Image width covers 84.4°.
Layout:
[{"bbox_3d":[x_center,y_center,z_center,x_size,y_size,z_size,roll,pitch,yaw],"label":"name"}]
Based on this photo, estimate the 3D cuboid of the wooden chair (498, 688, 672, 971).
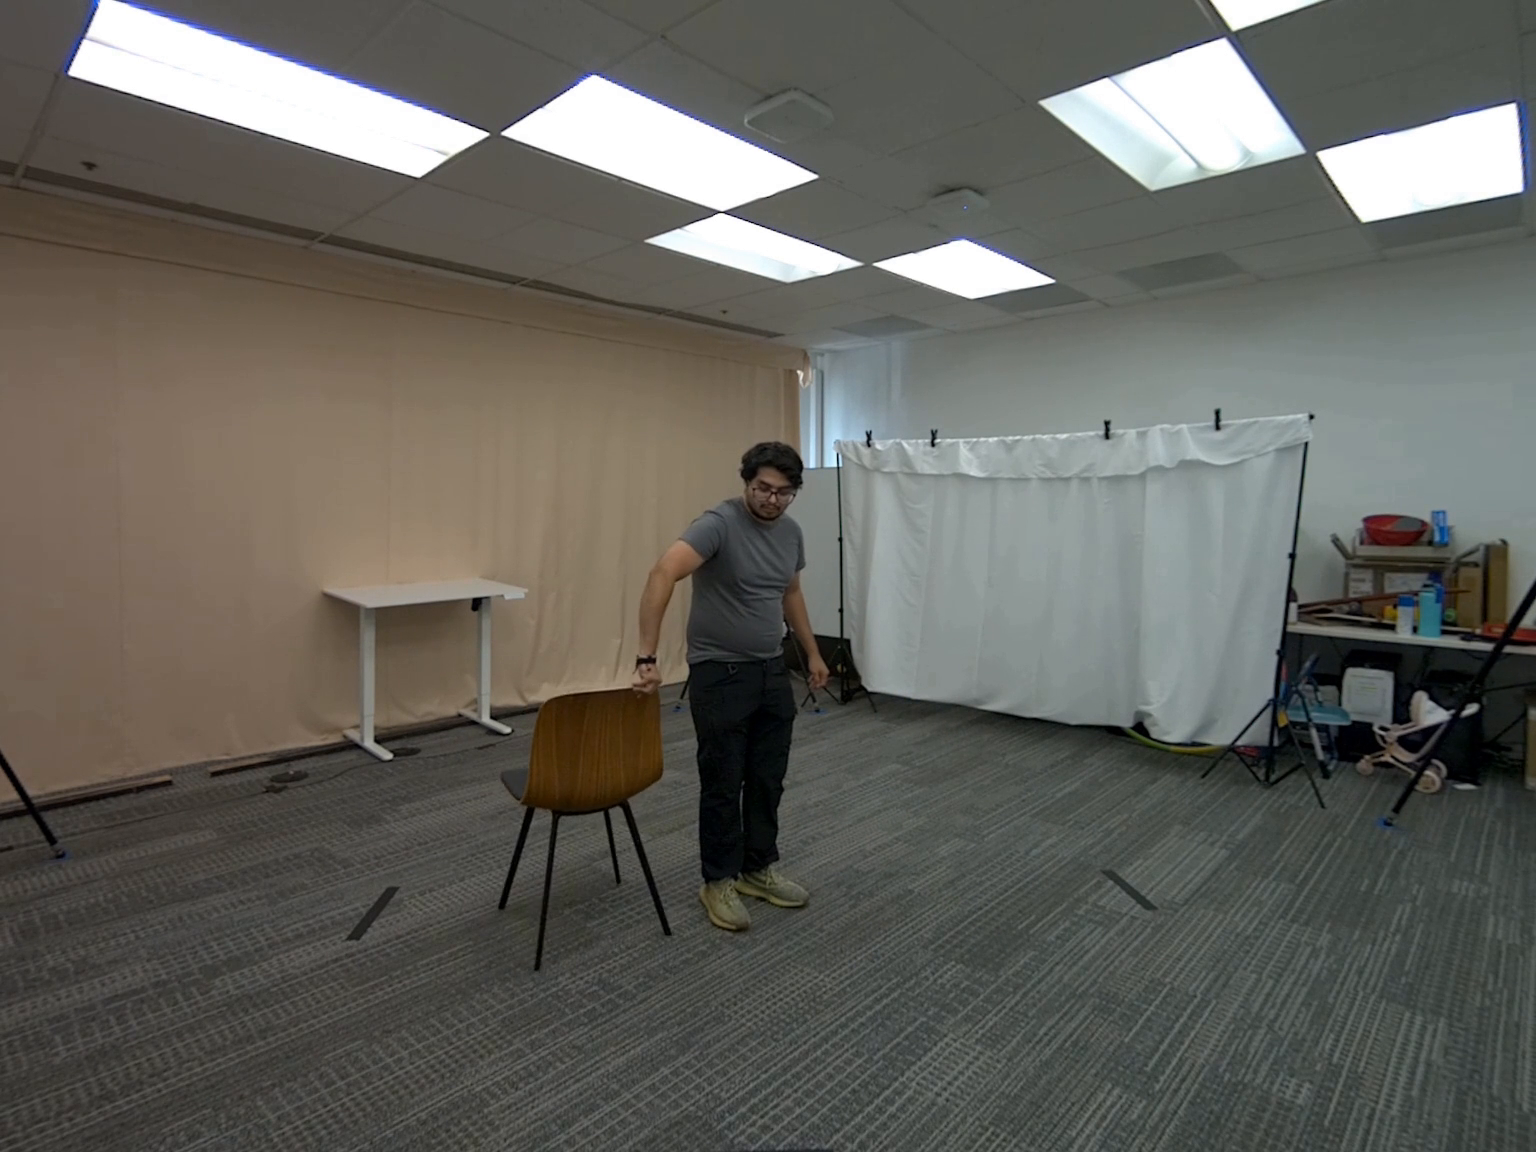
[{"bbox_3d":[-0.620,0.738,2.805,0.465,0.874,0.539,-2,8,-30],"label":"wooden chair"}]
